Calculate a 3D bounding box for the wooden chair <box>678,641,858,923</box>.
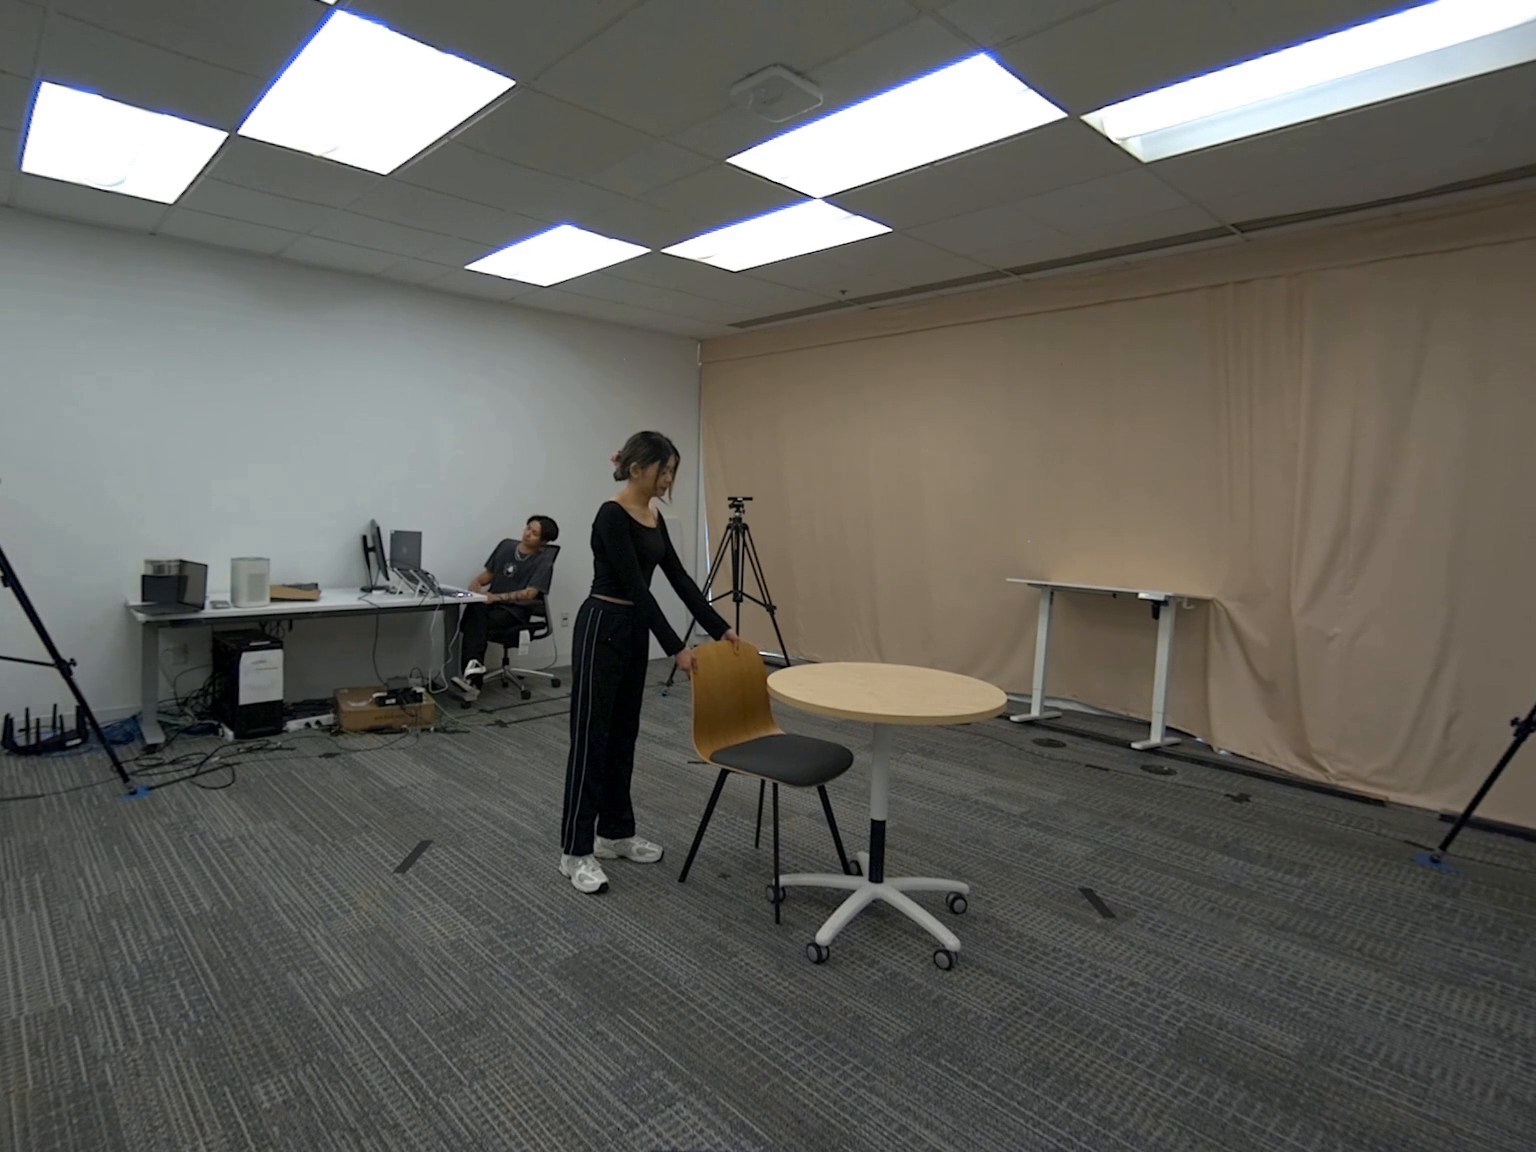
[{"bbox_3d":[-0.002,0.684,3.039,0.535,0.878,0.467,-2,0,40],"label":"wooden chair"}]
